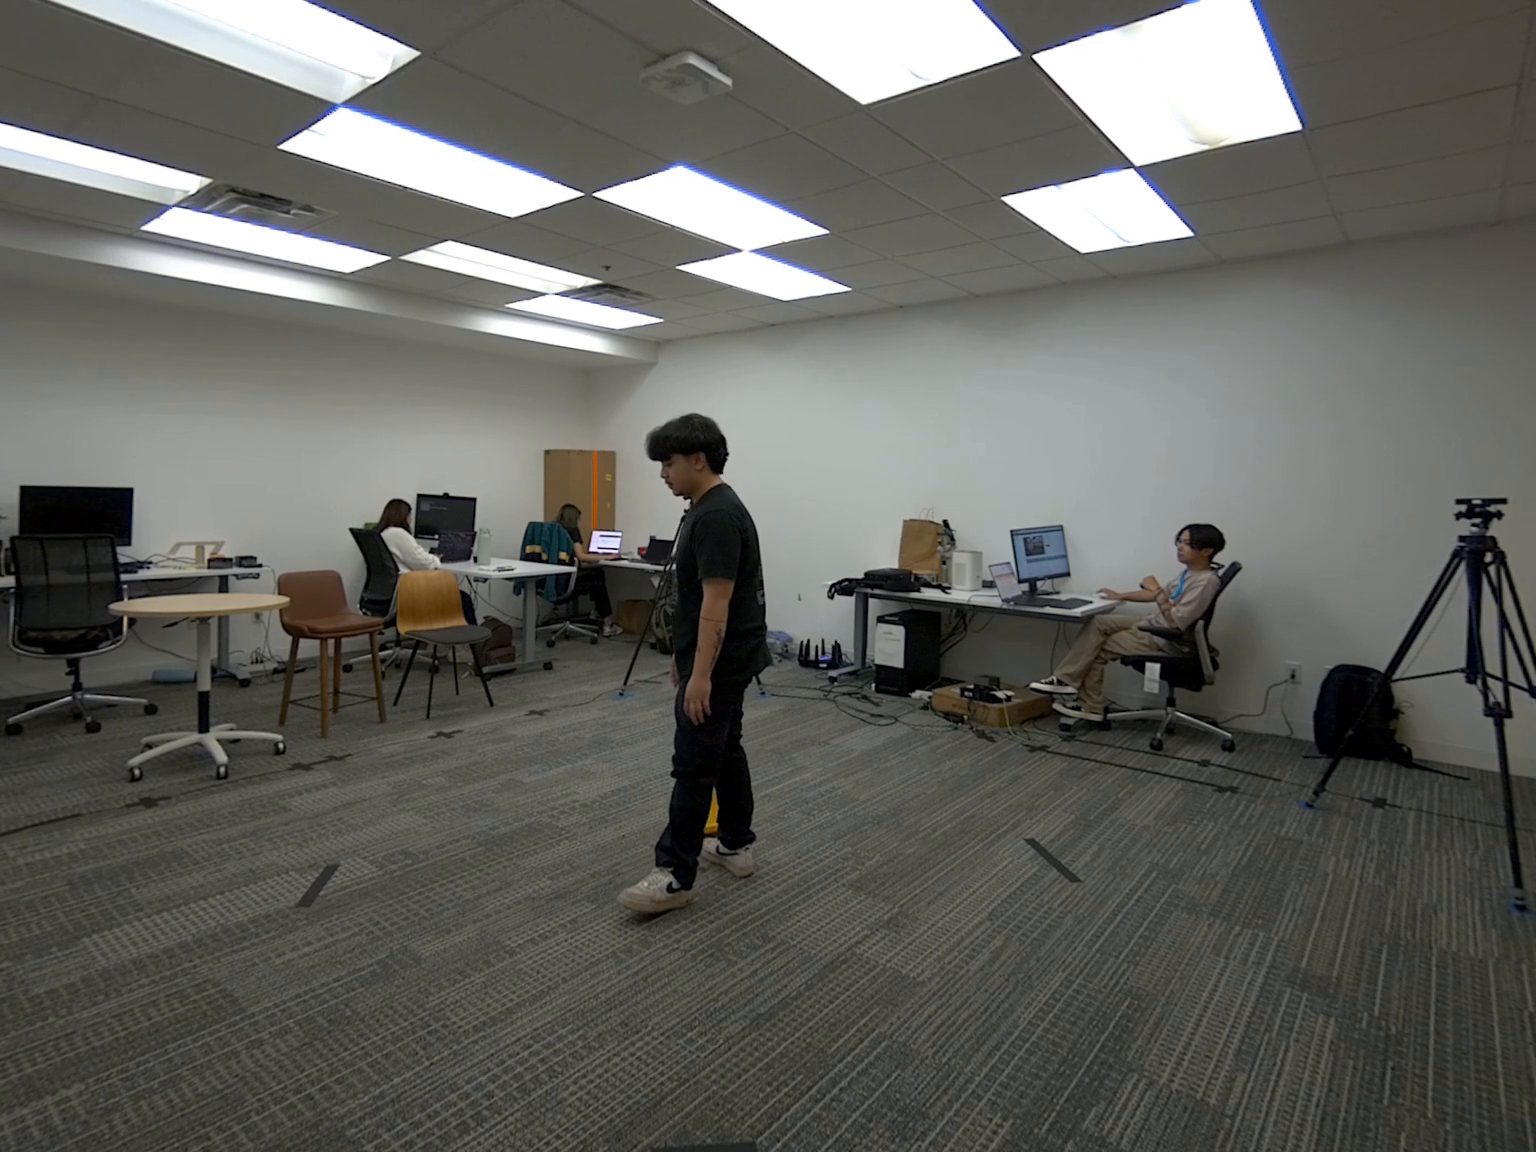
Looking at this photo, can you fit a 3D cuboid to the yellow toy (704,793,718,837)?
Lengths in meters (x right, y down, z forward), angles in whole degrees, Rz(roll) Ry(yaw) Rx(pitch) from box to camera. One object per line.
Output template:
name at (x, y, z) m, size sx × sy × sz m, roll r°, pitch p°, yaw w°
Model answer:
yellow toy at (-0.268, 0.924, 3.388) m, size 0.199 × 0.230 × 0.199 m, roll -2°, pitch 5°, yaw -29°
